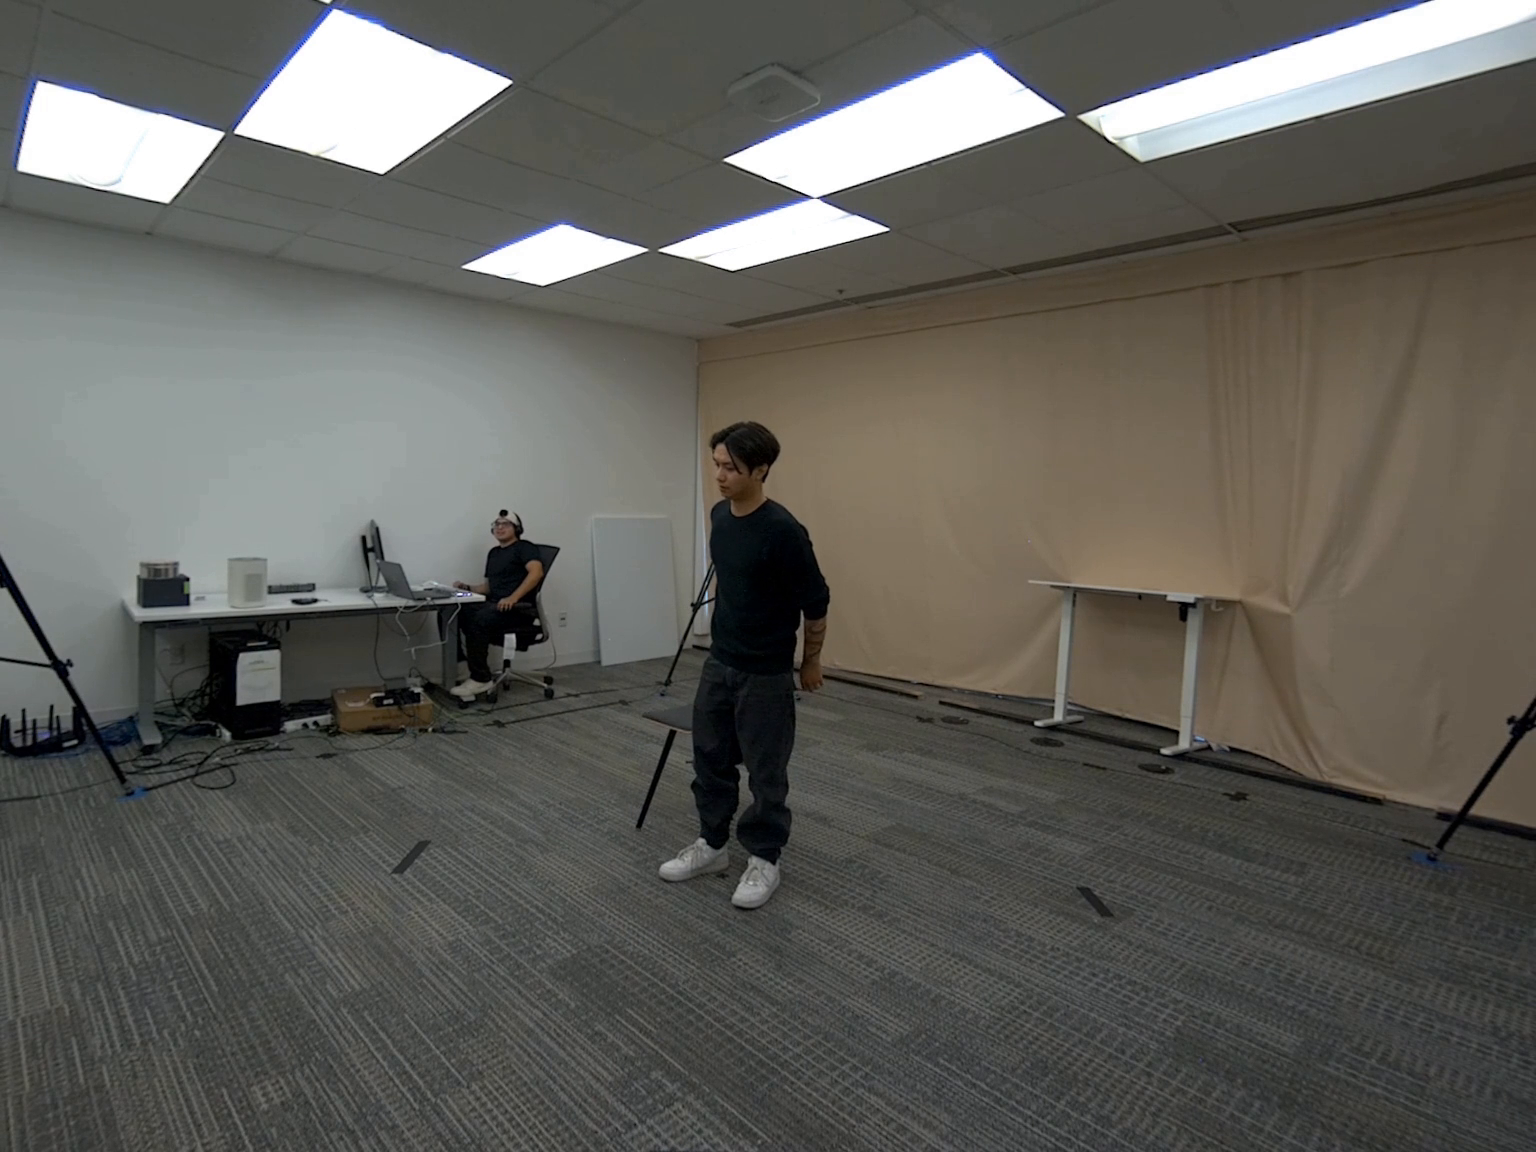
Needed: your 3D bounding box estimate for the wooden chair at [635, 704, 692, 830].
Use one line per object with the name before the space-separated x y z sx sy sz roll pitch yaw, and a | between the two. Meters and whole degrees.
wooden chair | -0.227 0.642 3.515 0.537 0.873 0.467 10 9 41
